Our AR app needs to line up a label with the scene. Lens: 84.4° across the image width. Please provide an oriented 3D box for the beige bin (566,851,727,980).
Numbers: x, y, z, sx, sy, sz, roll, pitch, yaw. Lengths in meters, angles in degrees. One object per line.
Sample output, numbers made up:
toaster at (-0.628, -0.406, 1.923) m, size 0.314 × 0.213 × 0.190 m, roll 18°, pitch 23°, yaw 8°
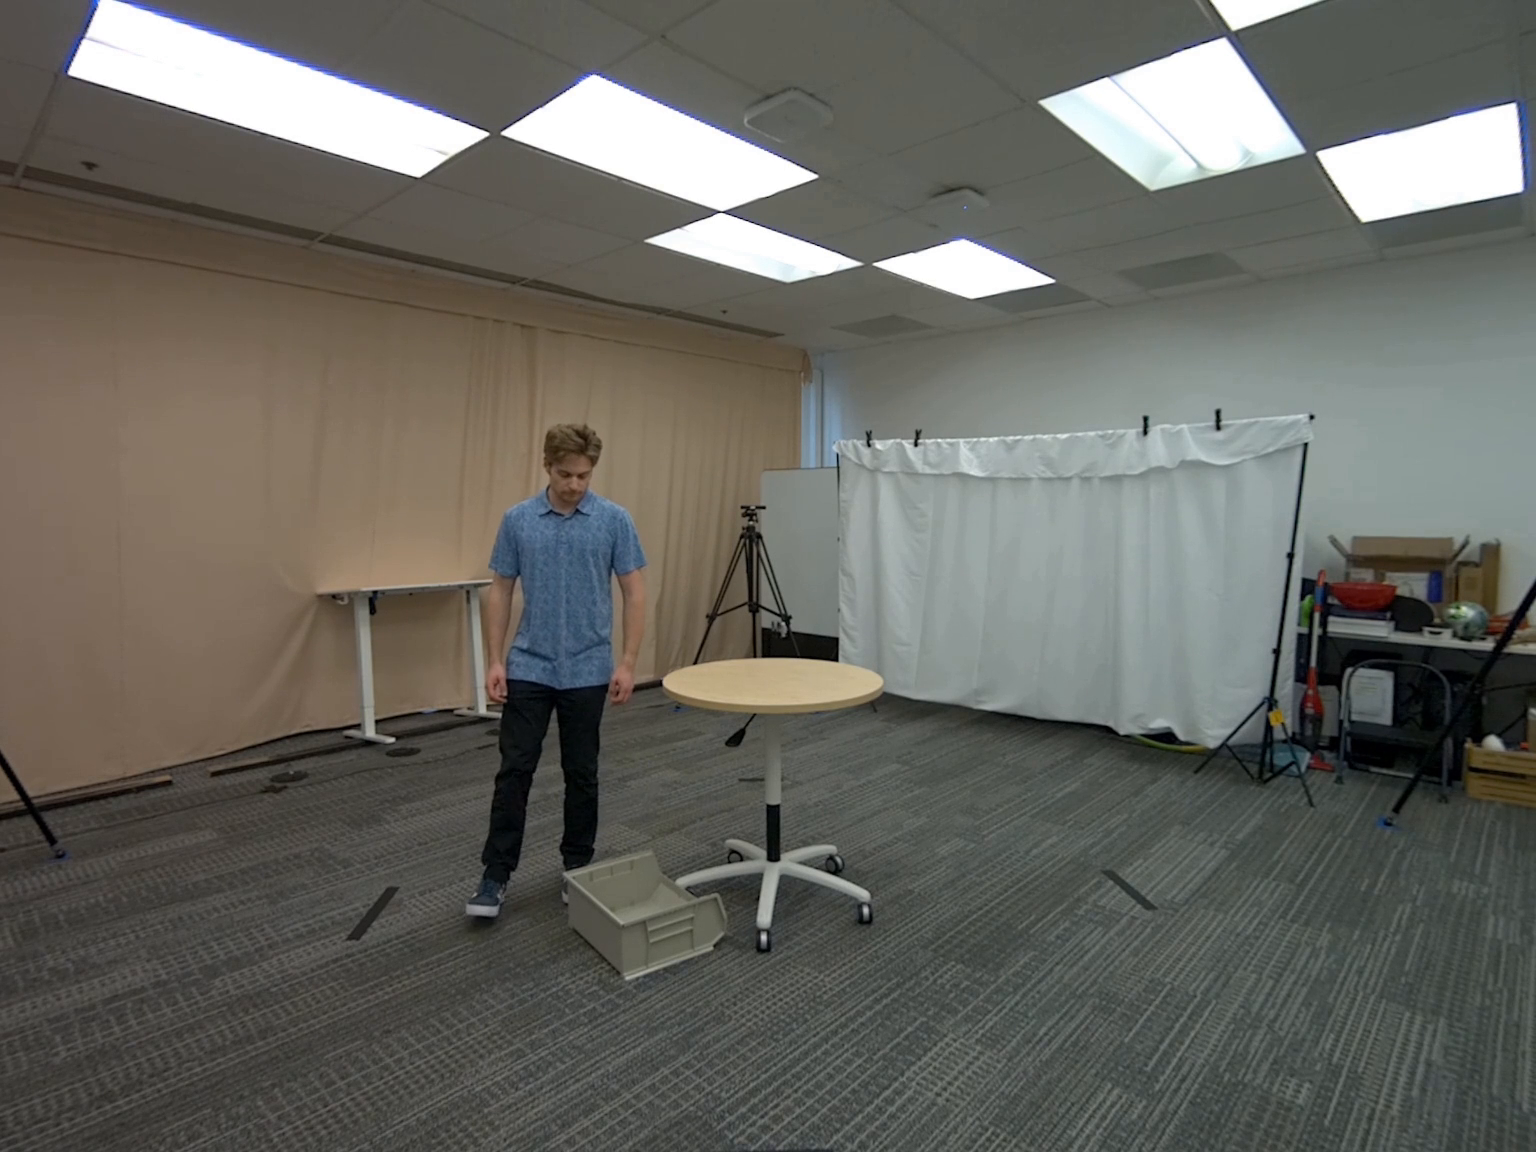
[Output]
beige bin at (-0.405, 1.083, 2.724) m, size 0.366 × 0.188 × 0.436 m, roll -5°, pitch 7°, yaw -36°
